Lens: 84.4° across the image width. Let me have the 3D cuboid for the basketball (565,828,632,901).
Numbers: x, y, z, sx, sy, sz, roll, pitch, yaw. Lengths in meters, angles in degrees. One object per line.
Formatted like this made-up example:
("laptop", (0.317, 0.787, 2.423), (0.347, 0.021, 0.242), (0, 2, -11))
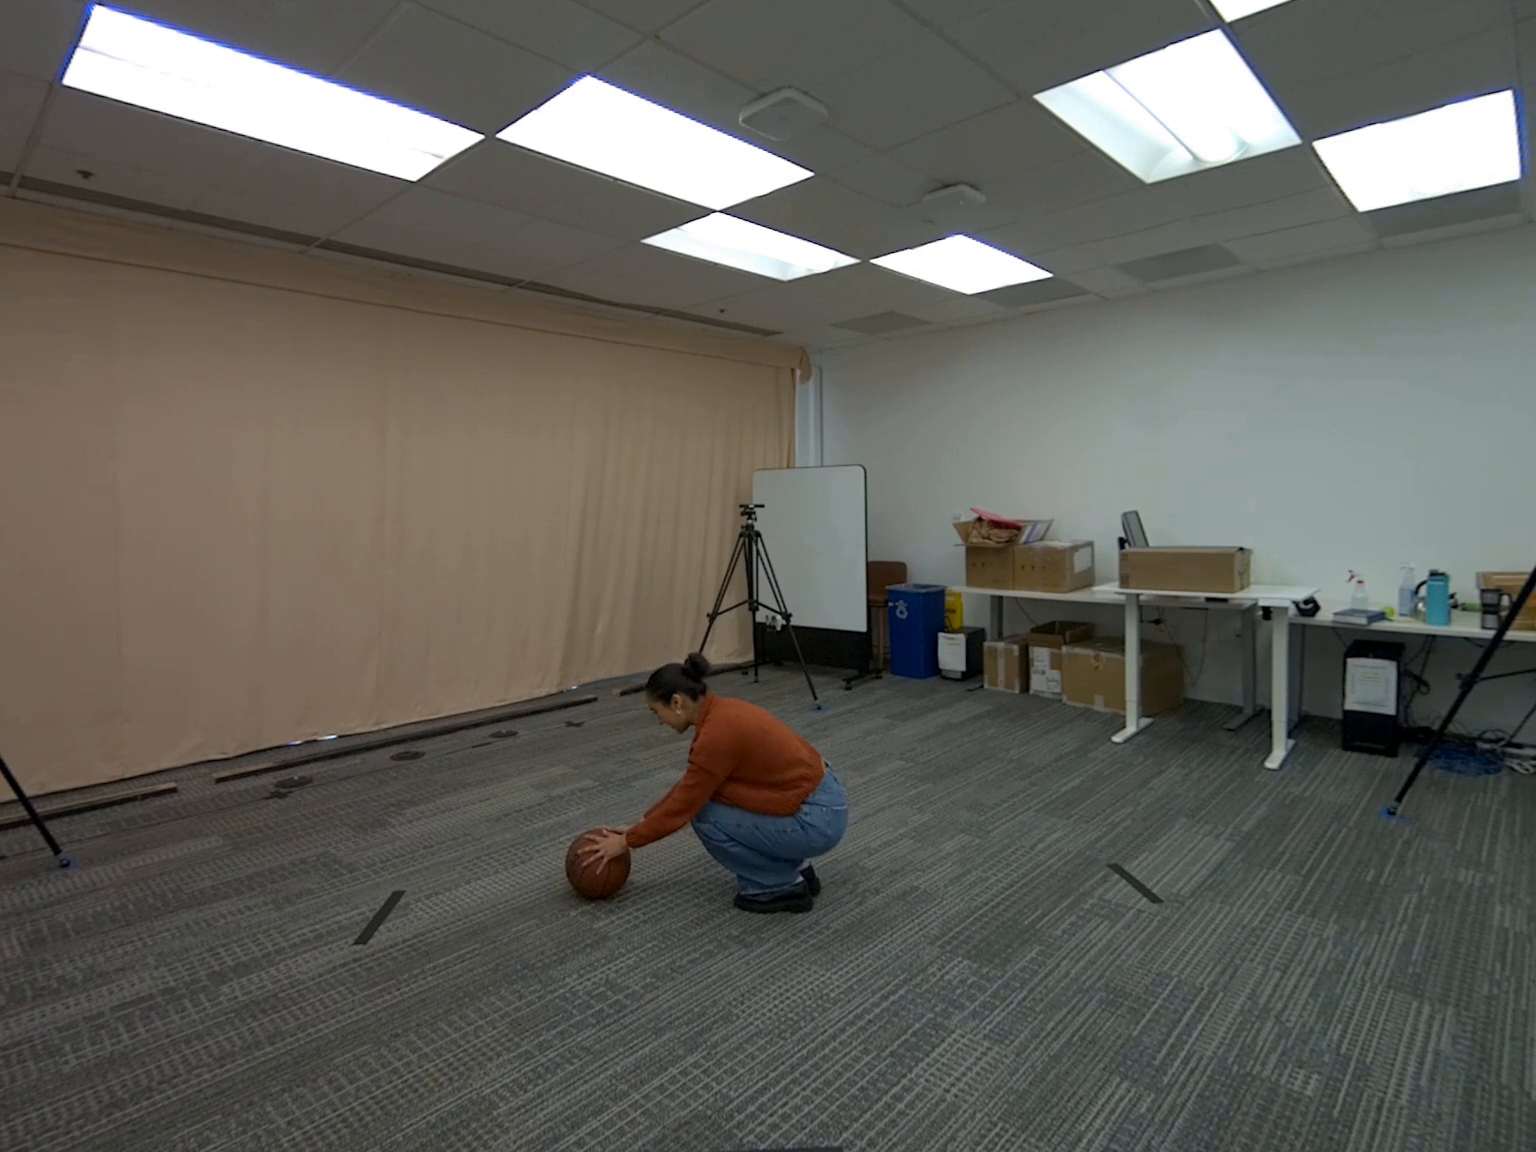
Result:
("basketball", (-0.604, 1.026, 3.035), (0.236, 0.235, 0.237), (-1, 4, -2))
